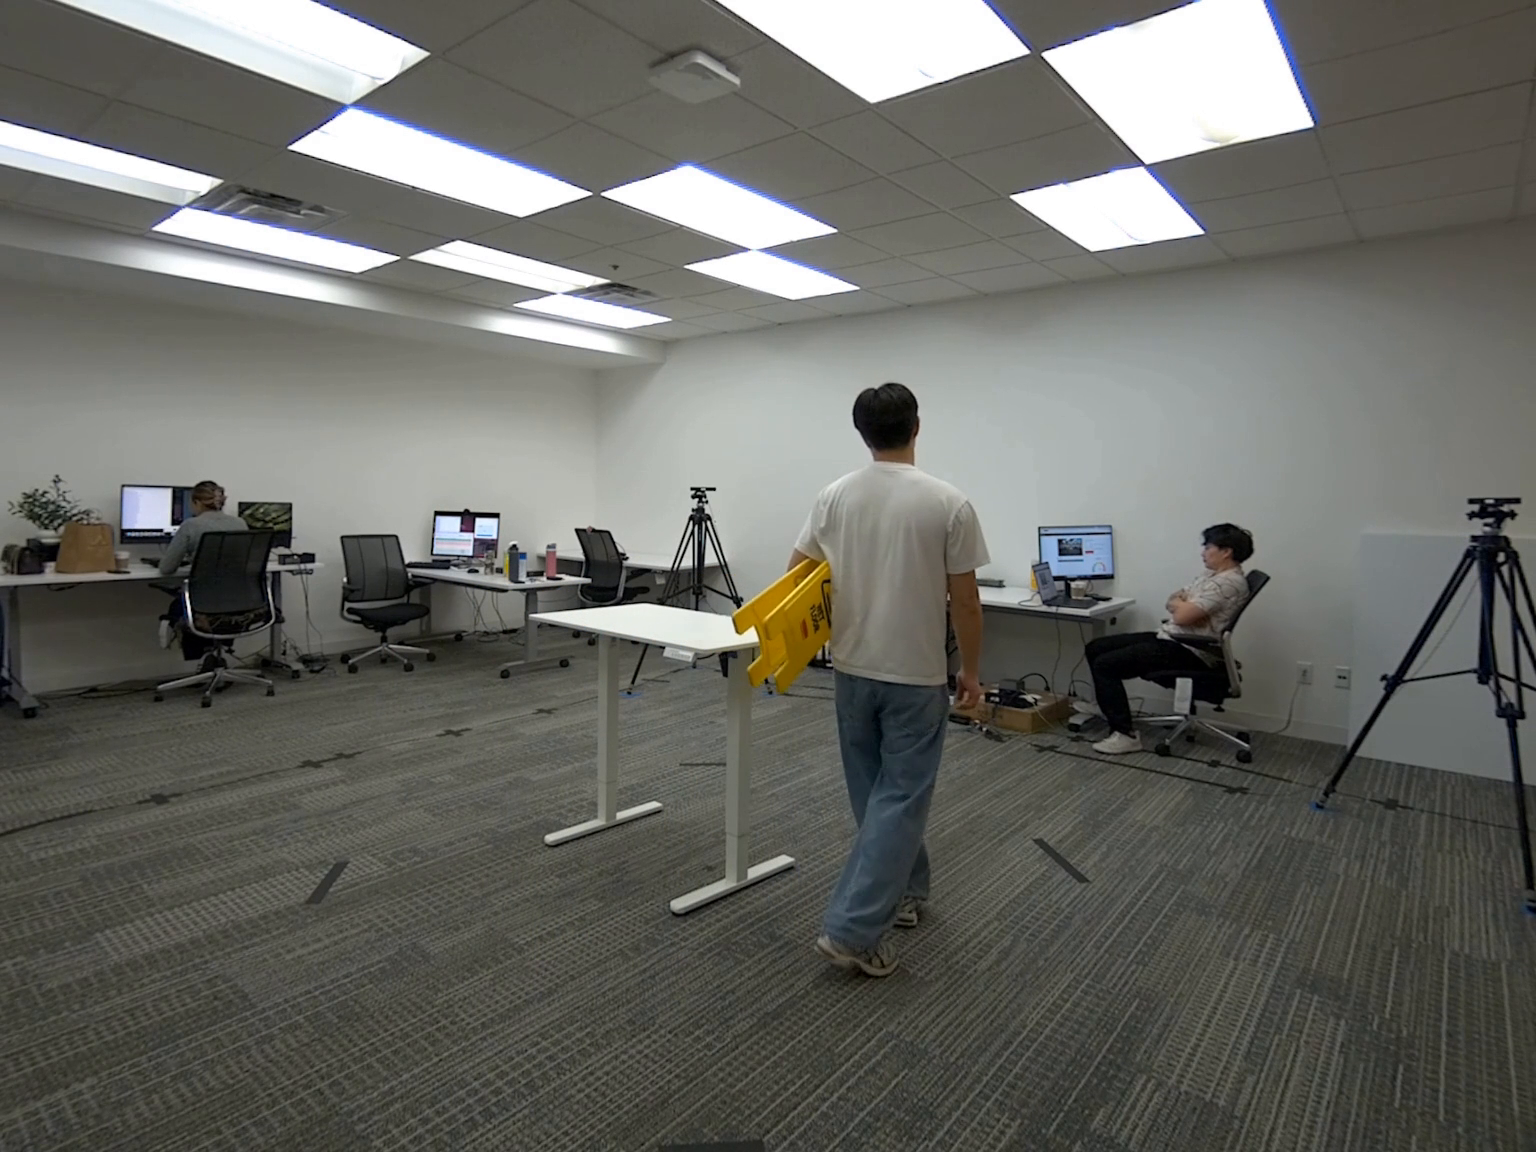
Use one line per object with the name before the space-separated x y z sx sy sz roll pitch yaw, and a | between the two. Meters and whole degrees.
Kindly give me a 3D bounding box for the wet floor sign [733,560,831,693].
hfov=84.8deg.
wet floor sign | 0.159 0.056 2.712 0.300 0.274 0.642 12 39 39
